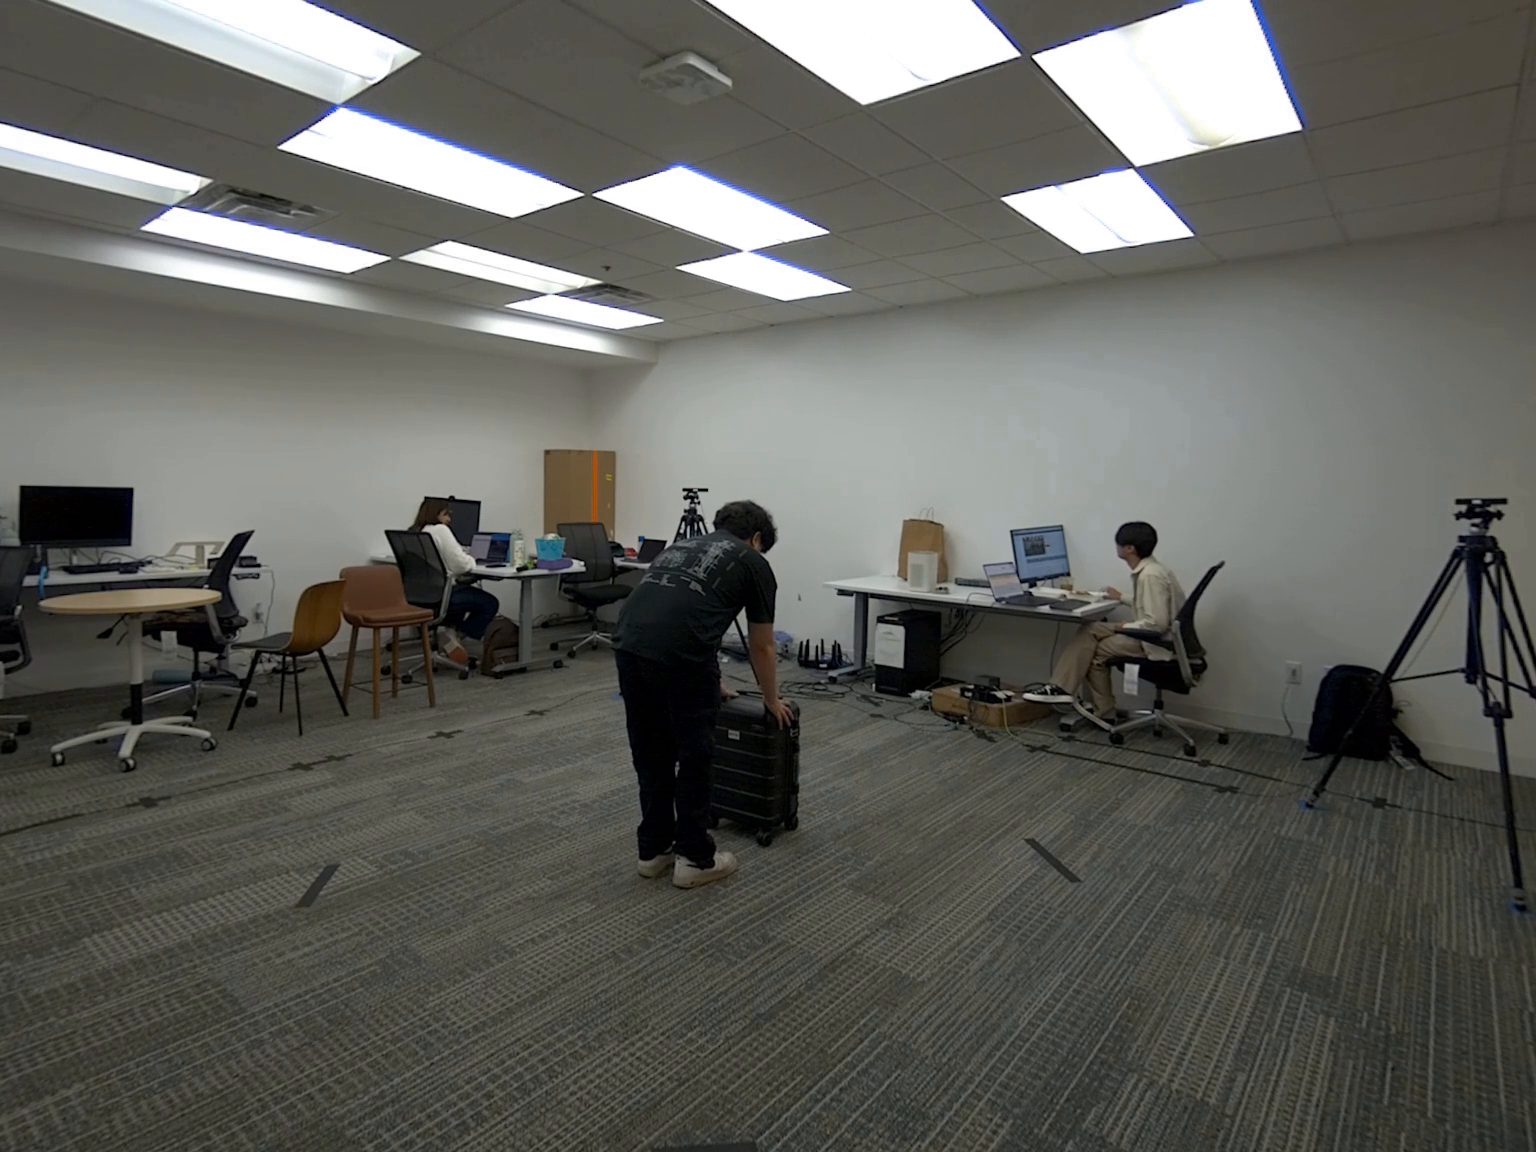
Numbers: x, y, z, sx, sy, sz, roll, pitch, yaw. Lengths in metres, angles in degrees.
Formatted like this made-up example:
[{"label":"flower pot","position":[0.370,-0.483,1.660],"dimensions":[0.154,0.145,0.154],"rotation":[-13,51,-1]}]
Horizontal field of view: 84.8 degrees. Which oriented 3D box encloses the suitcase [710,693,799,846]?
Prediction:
[{"label":"suitcase","position":[-0.069,0.762,3.511],"dimensions":[0.387,0.548,0.241],"rotation":[3,2,32]}]
